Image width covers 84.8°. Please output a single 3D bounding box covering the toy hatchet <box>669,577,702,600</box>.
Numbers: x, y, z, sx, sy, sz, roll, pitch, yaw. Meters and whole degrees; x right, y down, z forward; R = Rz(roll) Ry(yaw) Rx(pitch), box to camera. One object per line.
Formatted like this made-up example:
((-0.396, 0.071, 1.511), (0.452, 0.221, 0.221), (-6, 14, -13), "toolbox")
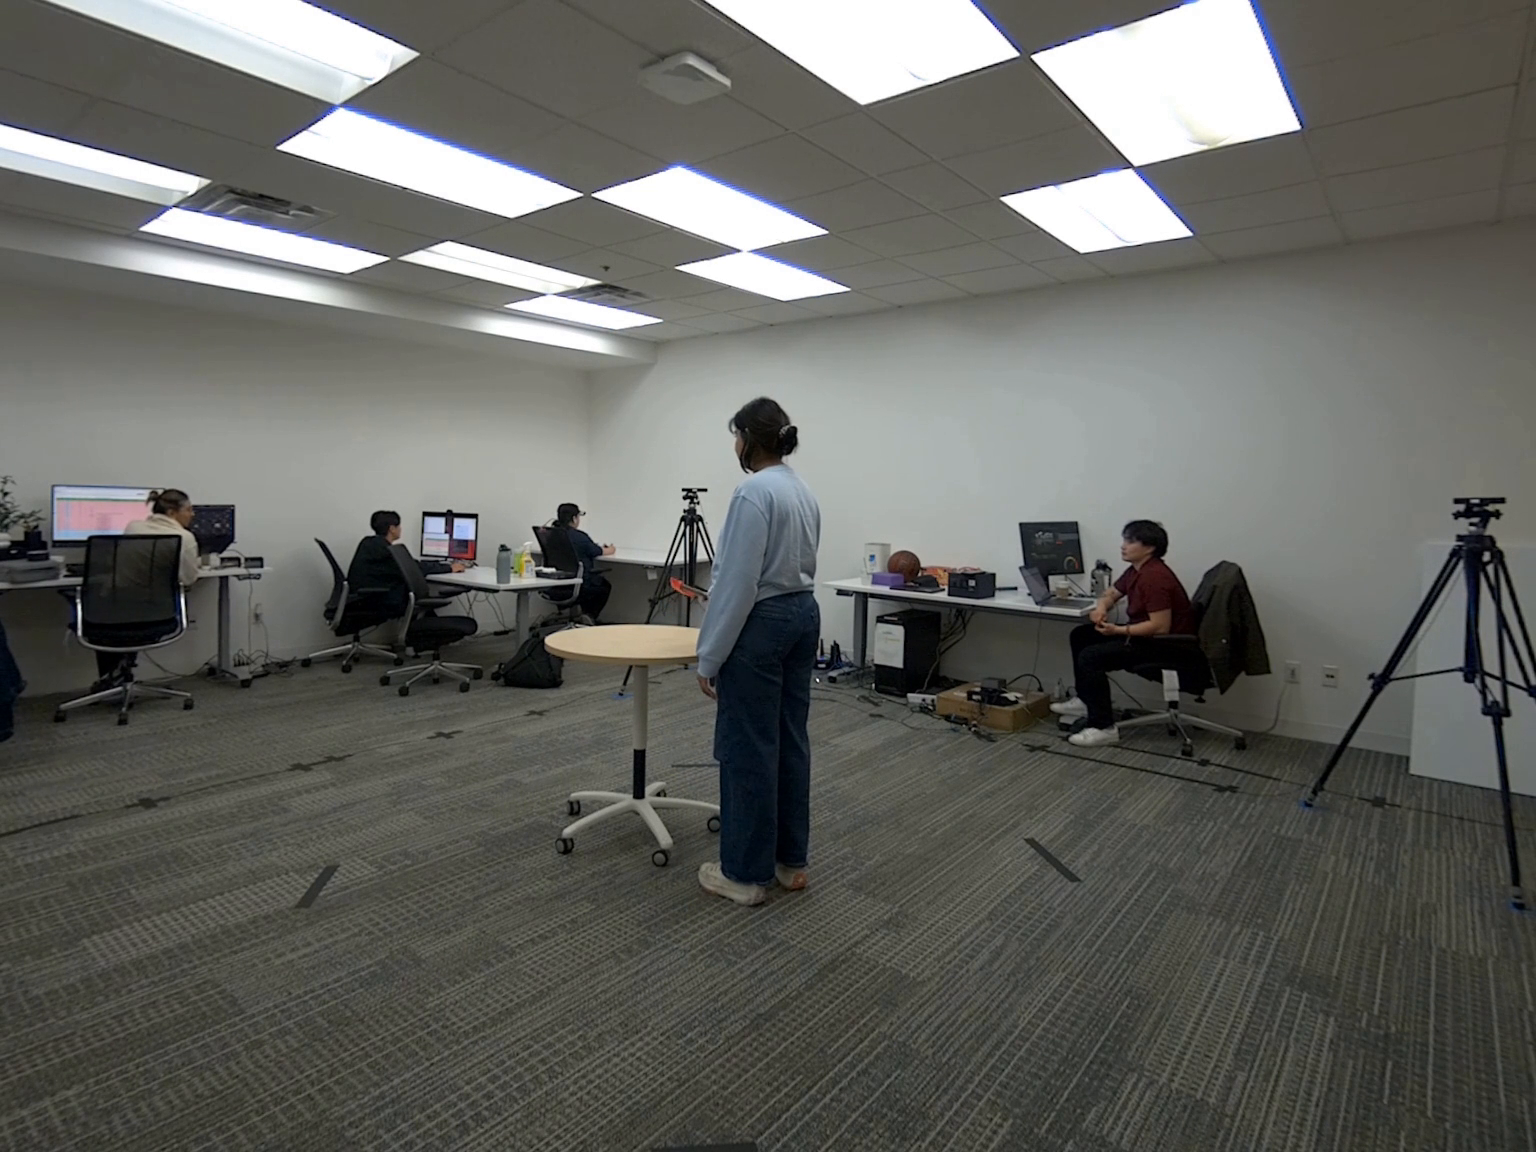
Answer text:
((-0.270, 0.075, 3.296), (0.276, 0.030, 0.127), (24, -21, 15), "toy hatchet")
